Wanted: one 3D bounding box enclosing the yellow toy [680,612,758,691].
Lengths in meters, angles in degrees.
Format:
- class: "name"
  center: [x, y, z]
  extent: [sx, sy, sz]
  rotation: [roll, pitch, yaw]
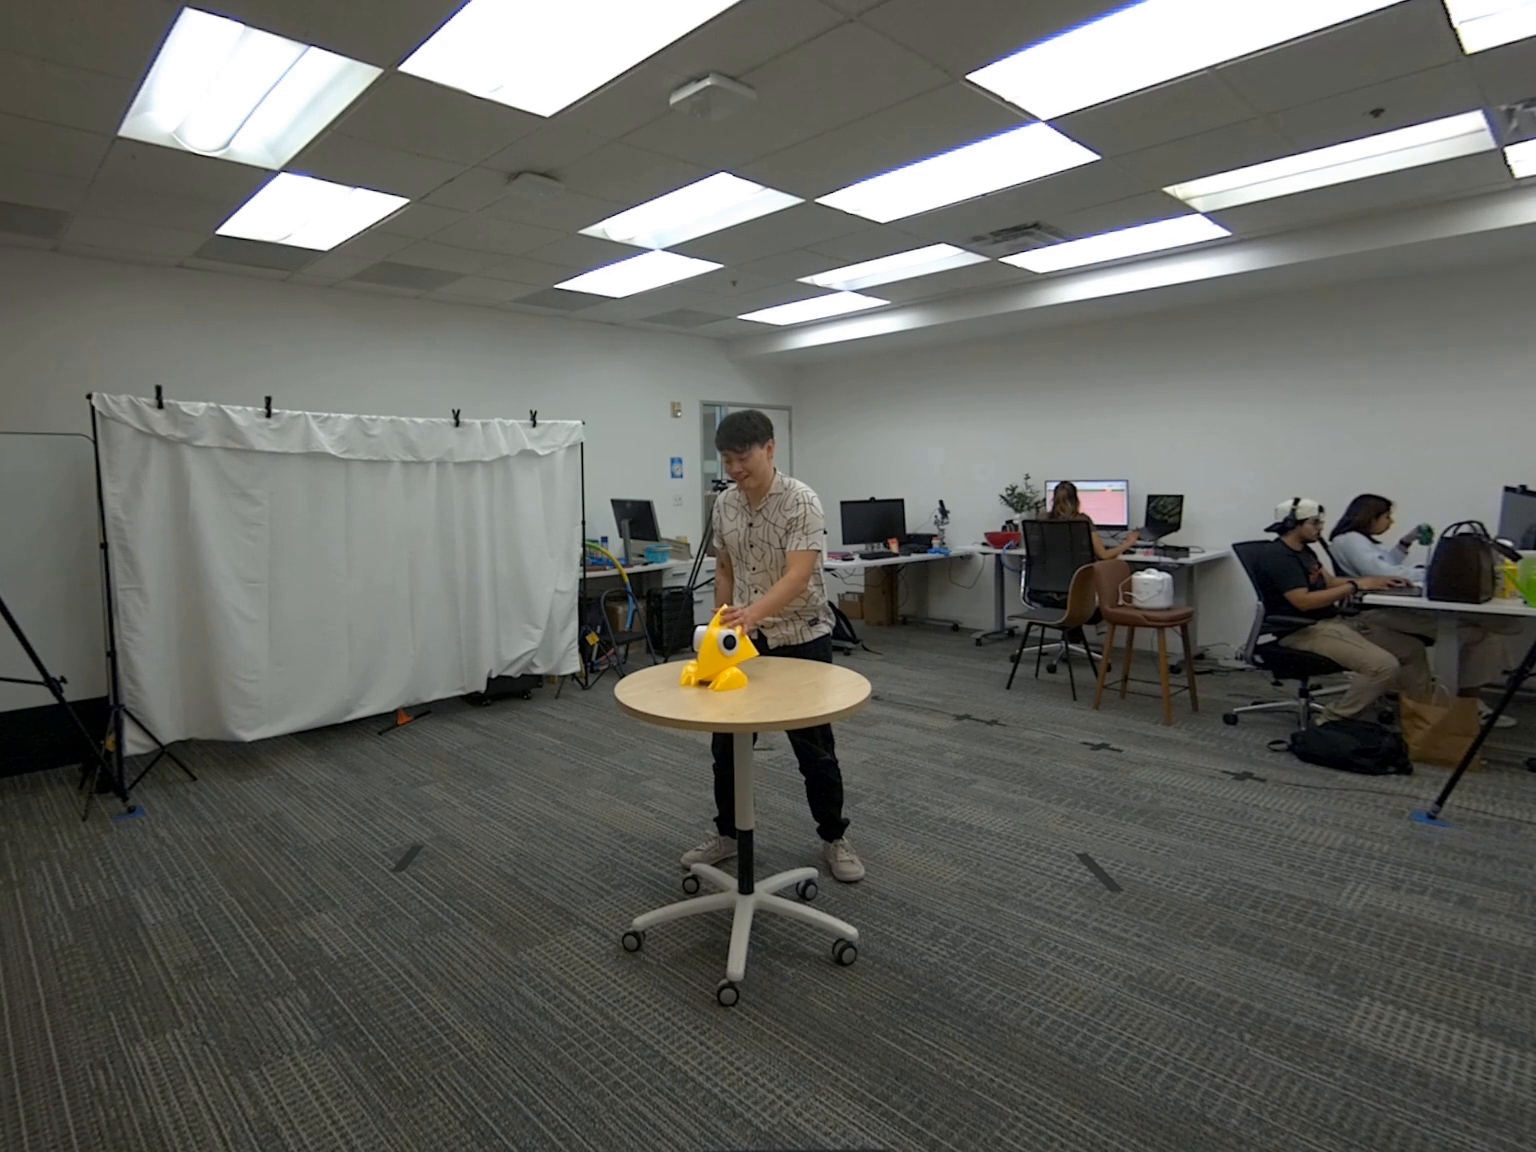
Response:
- class: "yellow toy"
  center: [-0.164, 0.214, 2.598]
  extent: [0.210, 0.230, 0.188]
  rotation: [2, 6, 35]
